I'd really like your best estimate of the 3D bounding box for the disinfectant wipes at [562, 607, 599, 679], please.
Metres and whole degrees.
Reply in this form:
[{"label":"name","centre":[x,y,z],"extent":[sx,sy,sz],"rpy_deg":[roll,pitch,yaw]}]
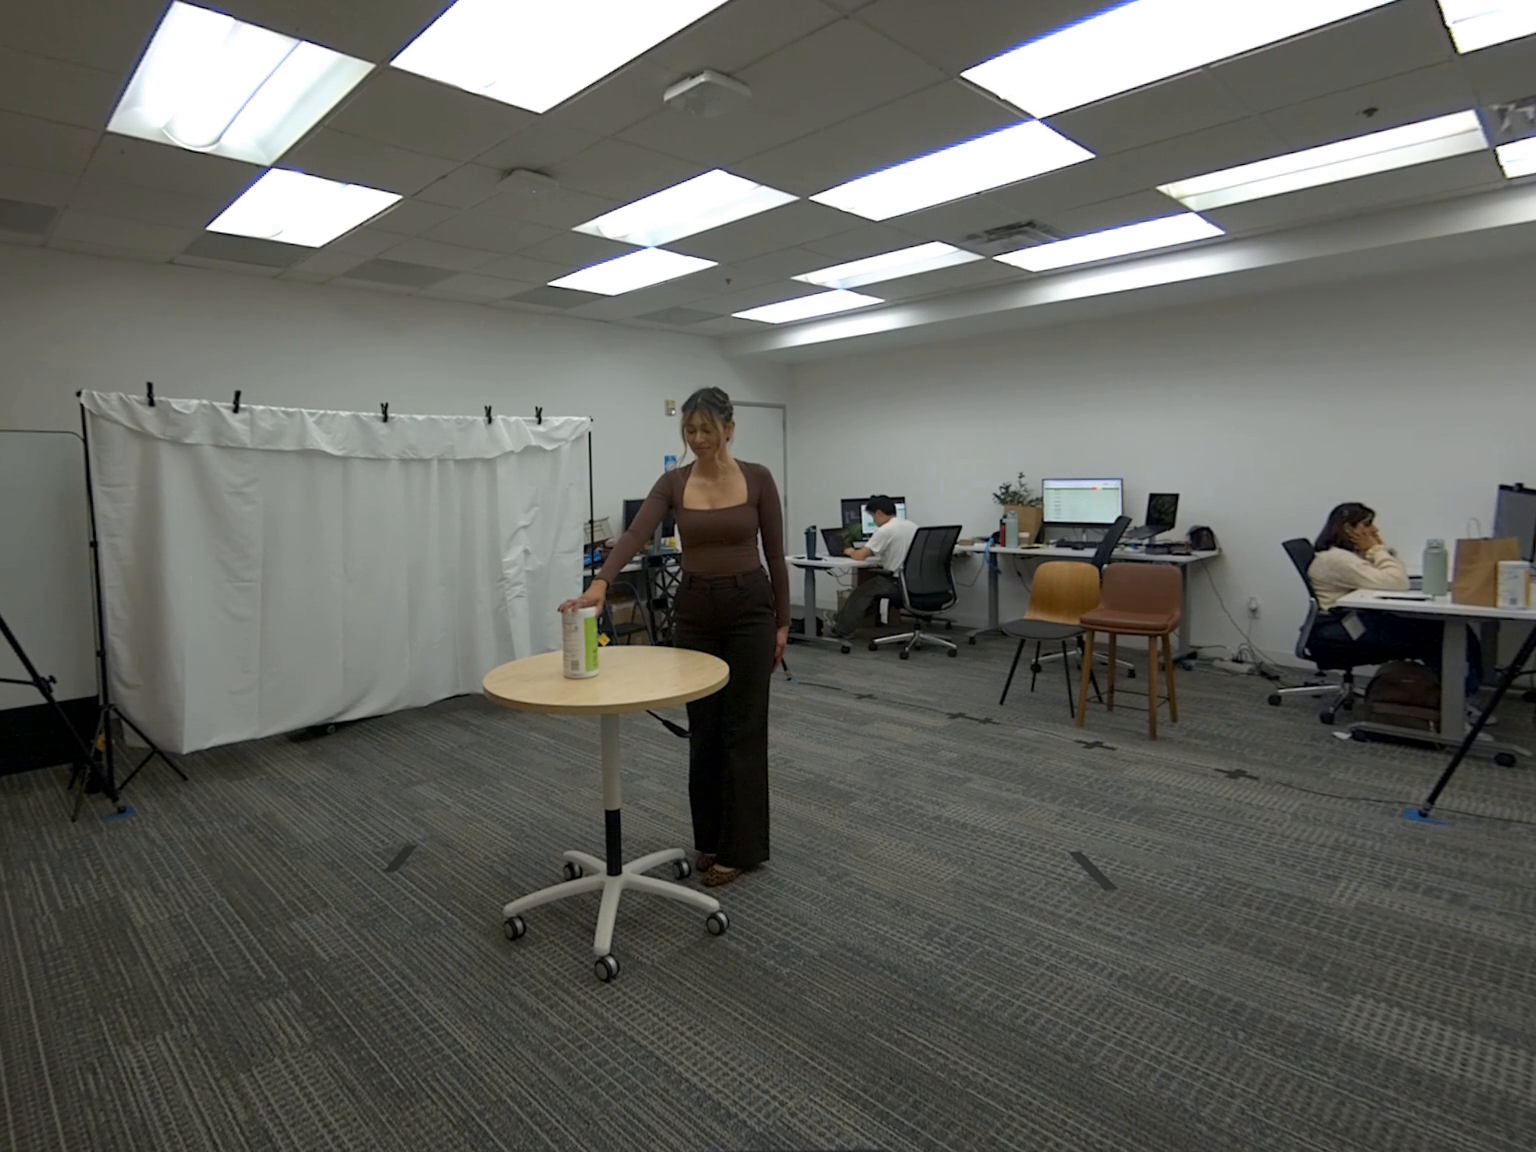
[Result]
[{"label":"disinfectant wipes","centre":[-0.580,0.202,2.647],"extent":[0.118,0.217,0.118],"rpy_deg":[0,3,-2]}]
